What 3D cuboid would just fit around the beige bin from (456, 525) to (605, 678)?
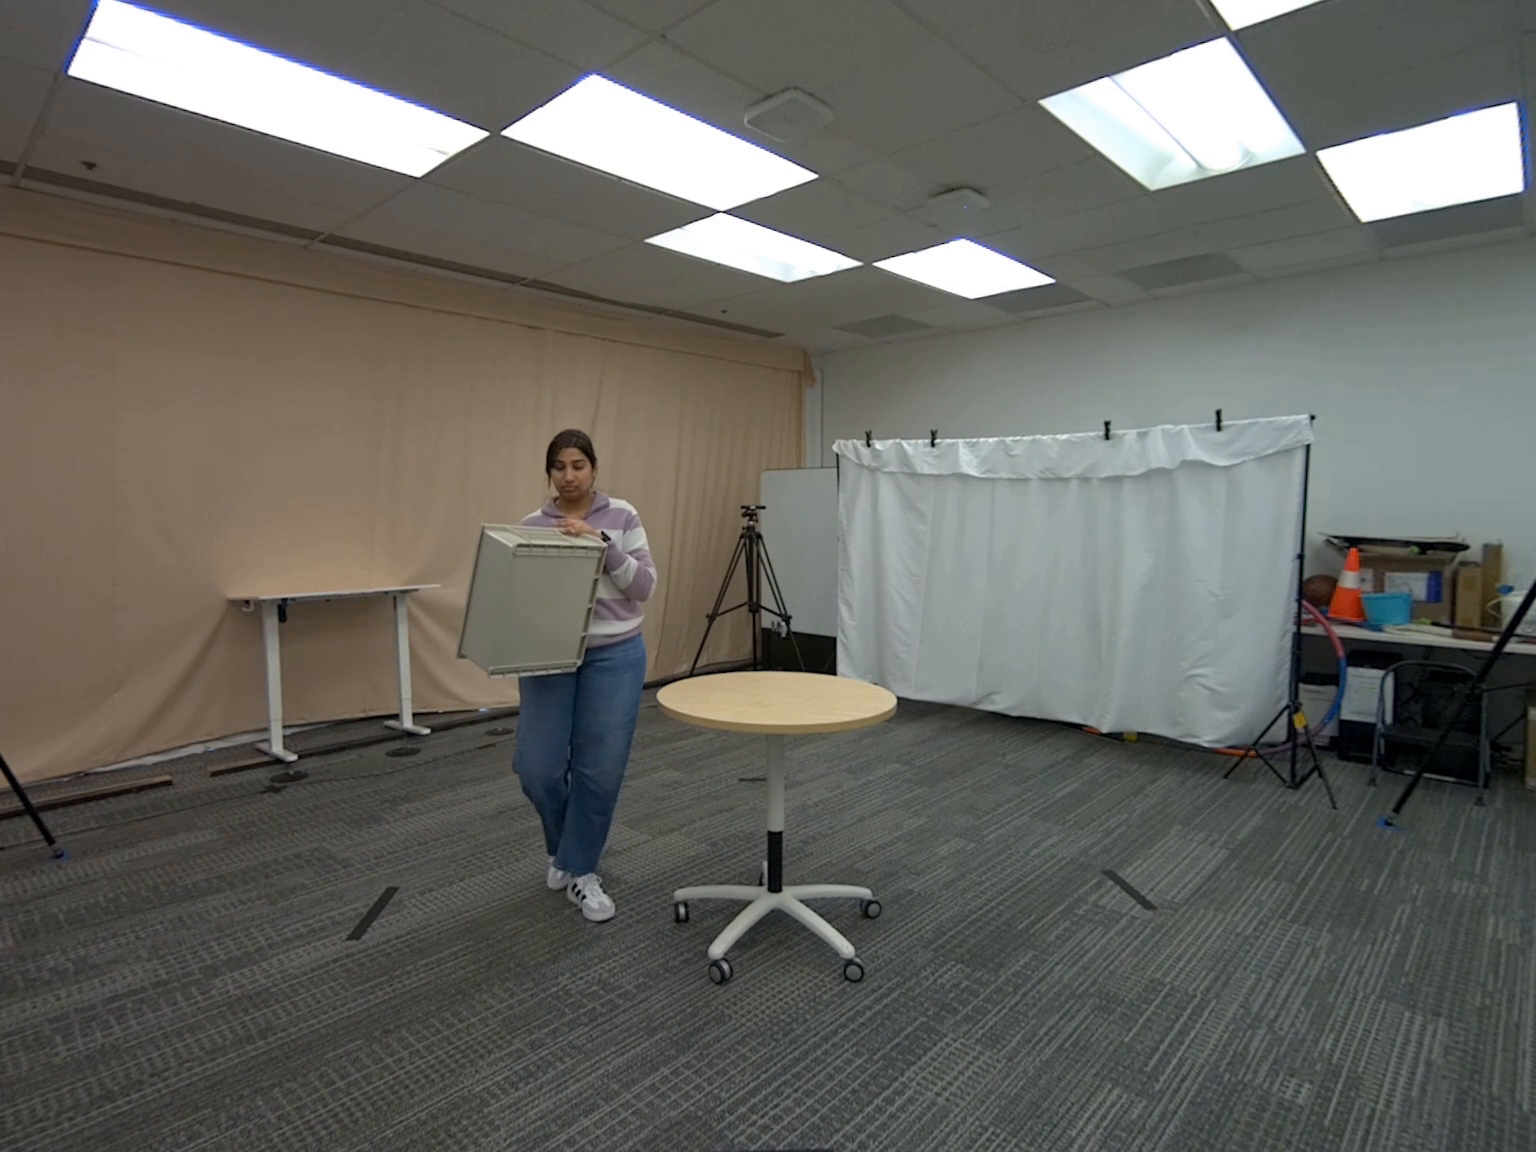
[{"bbox_3d":[-0.714,0.073,2.588,0.196,0.421,0.365,22,13,36],"label":"beige bin"}]
